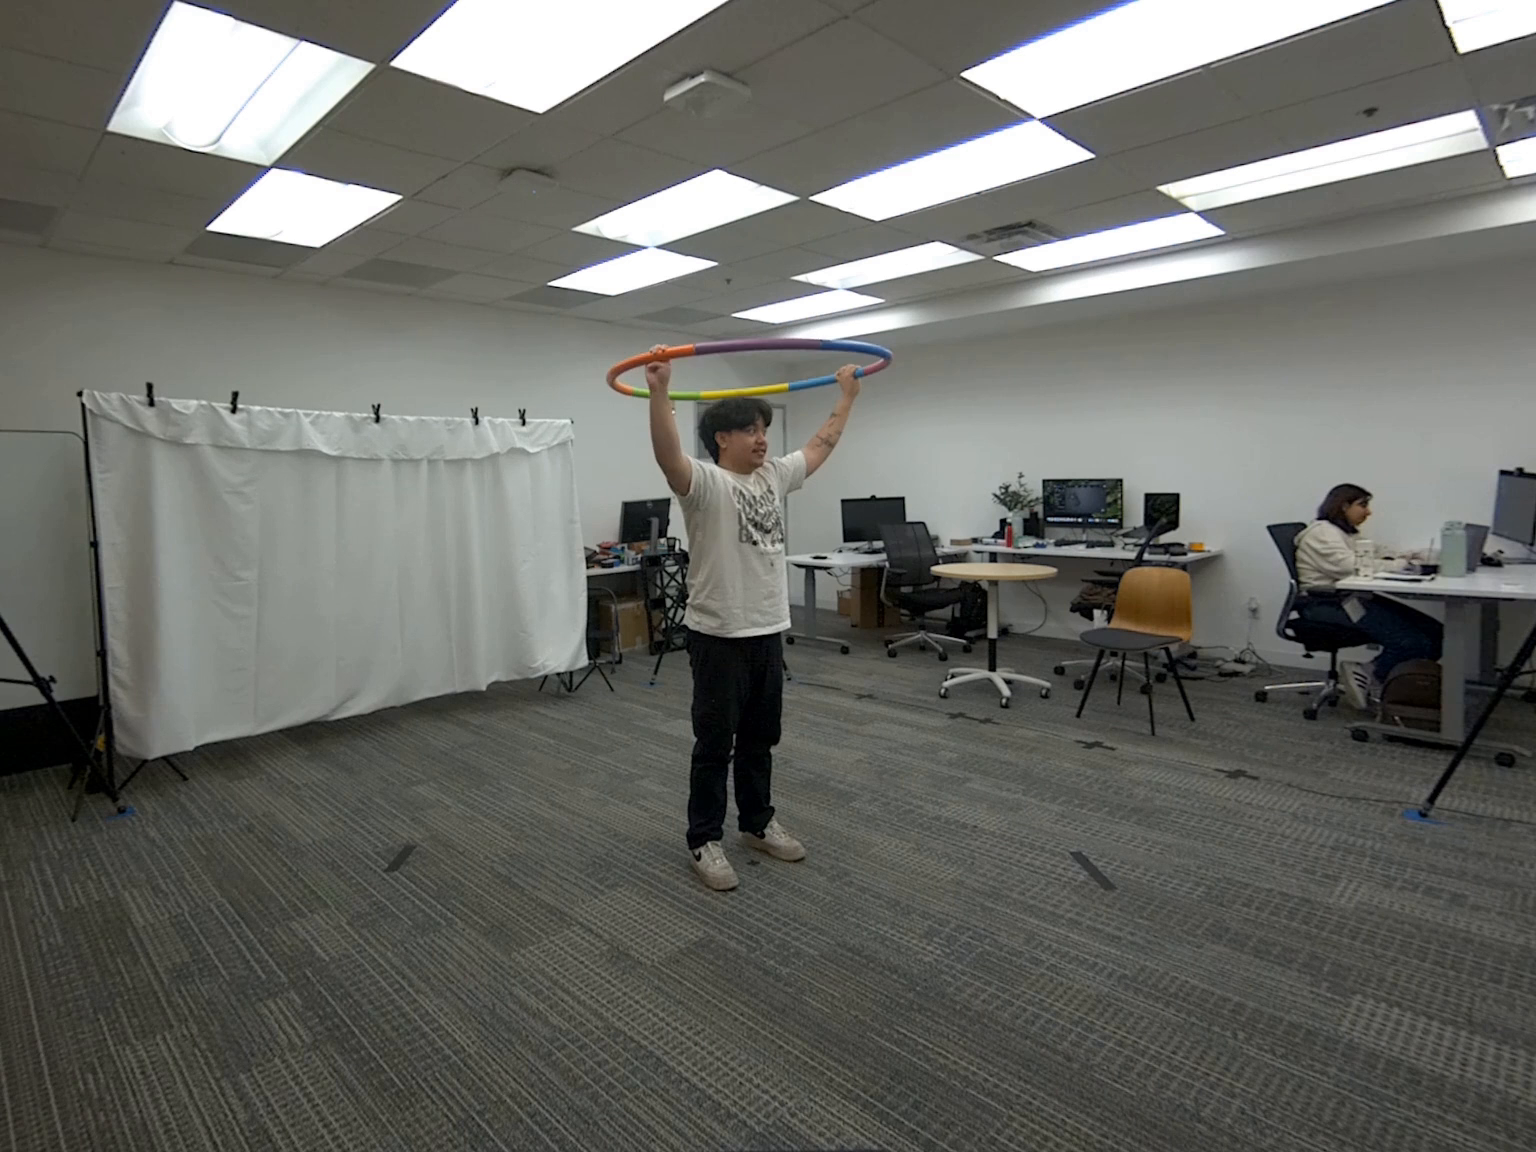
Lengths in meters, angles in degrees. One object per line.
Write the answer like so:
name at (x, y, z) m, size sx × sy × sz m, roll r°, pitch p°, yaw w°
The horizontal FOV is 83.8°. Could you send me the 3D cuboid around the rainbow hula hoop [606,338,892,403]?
rainbow hula hoop at (-0.061, -0.707, 2.953) m, size 0.985 × 0.051 × 0.988 m, roll -5°, pitch 4°, yaw -1°
